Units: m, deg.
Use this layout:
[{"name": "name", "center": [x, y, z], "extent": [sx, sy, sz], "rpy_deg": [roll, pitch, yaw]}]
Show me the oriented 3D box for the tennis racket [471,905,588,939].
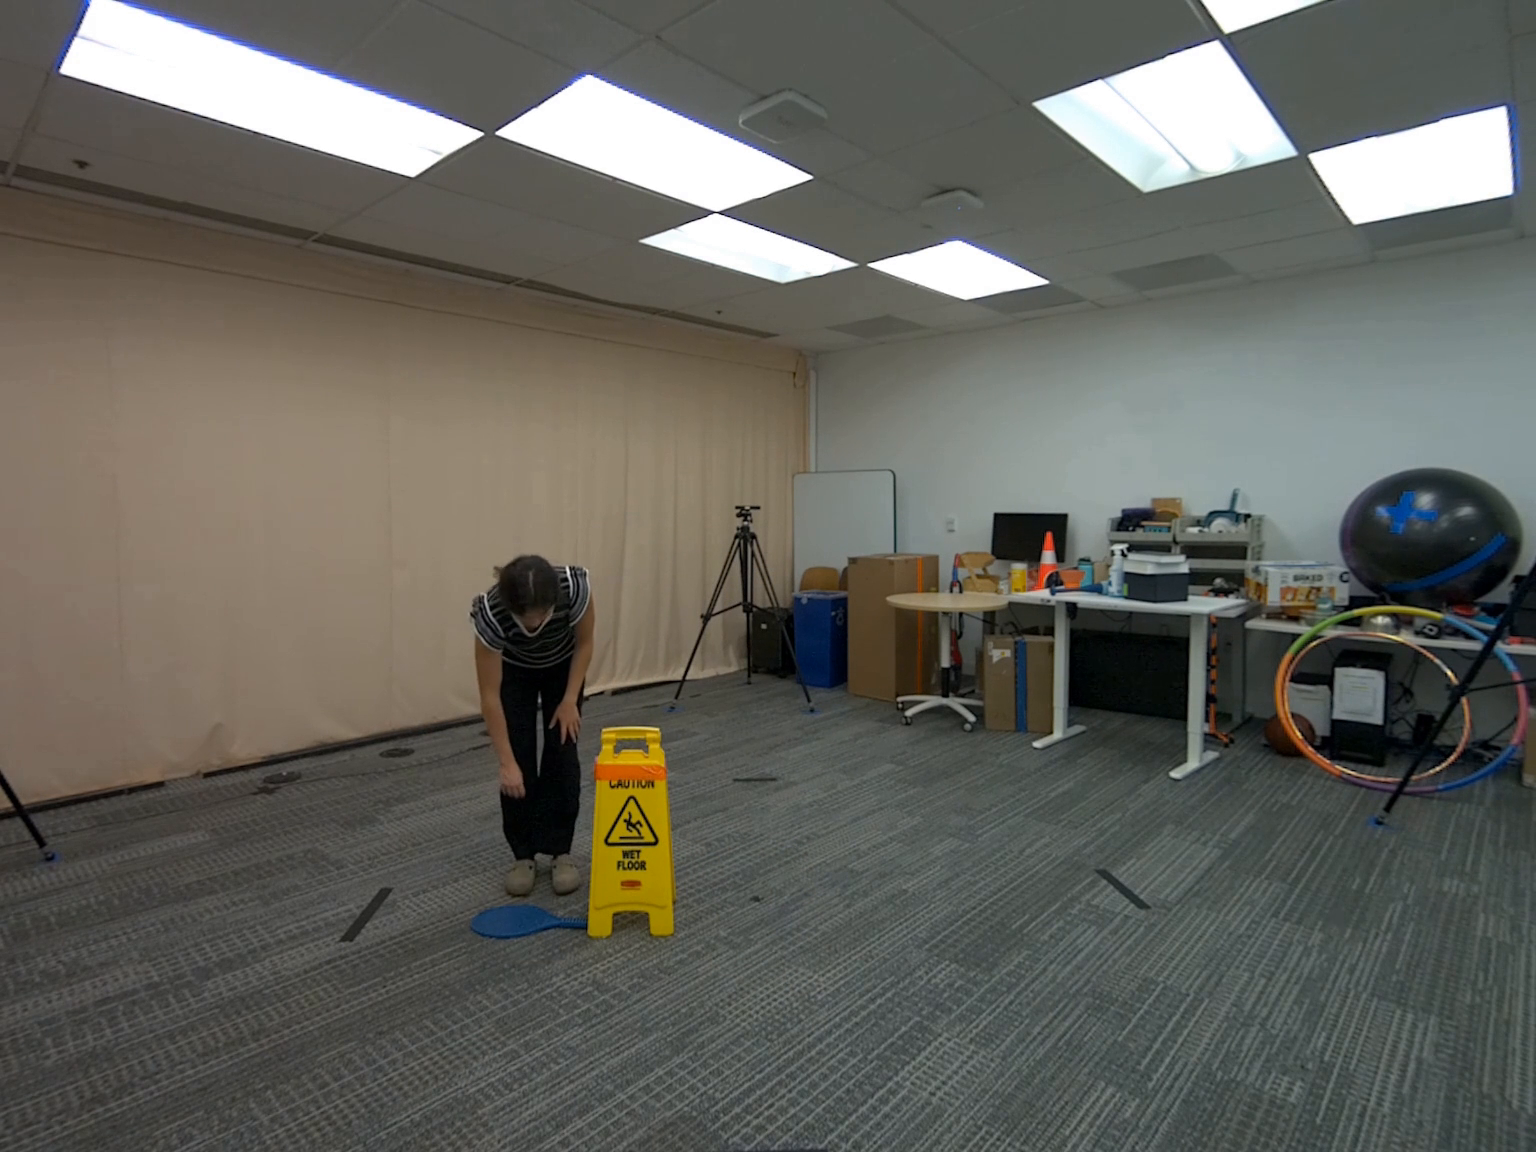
[{"name": "tennis racket", "center": [-0.768, 1.143, 2.812], "extent": [0.437, 0.032, 0.212], "rpy_deg": [-1, 5, 9]}]
